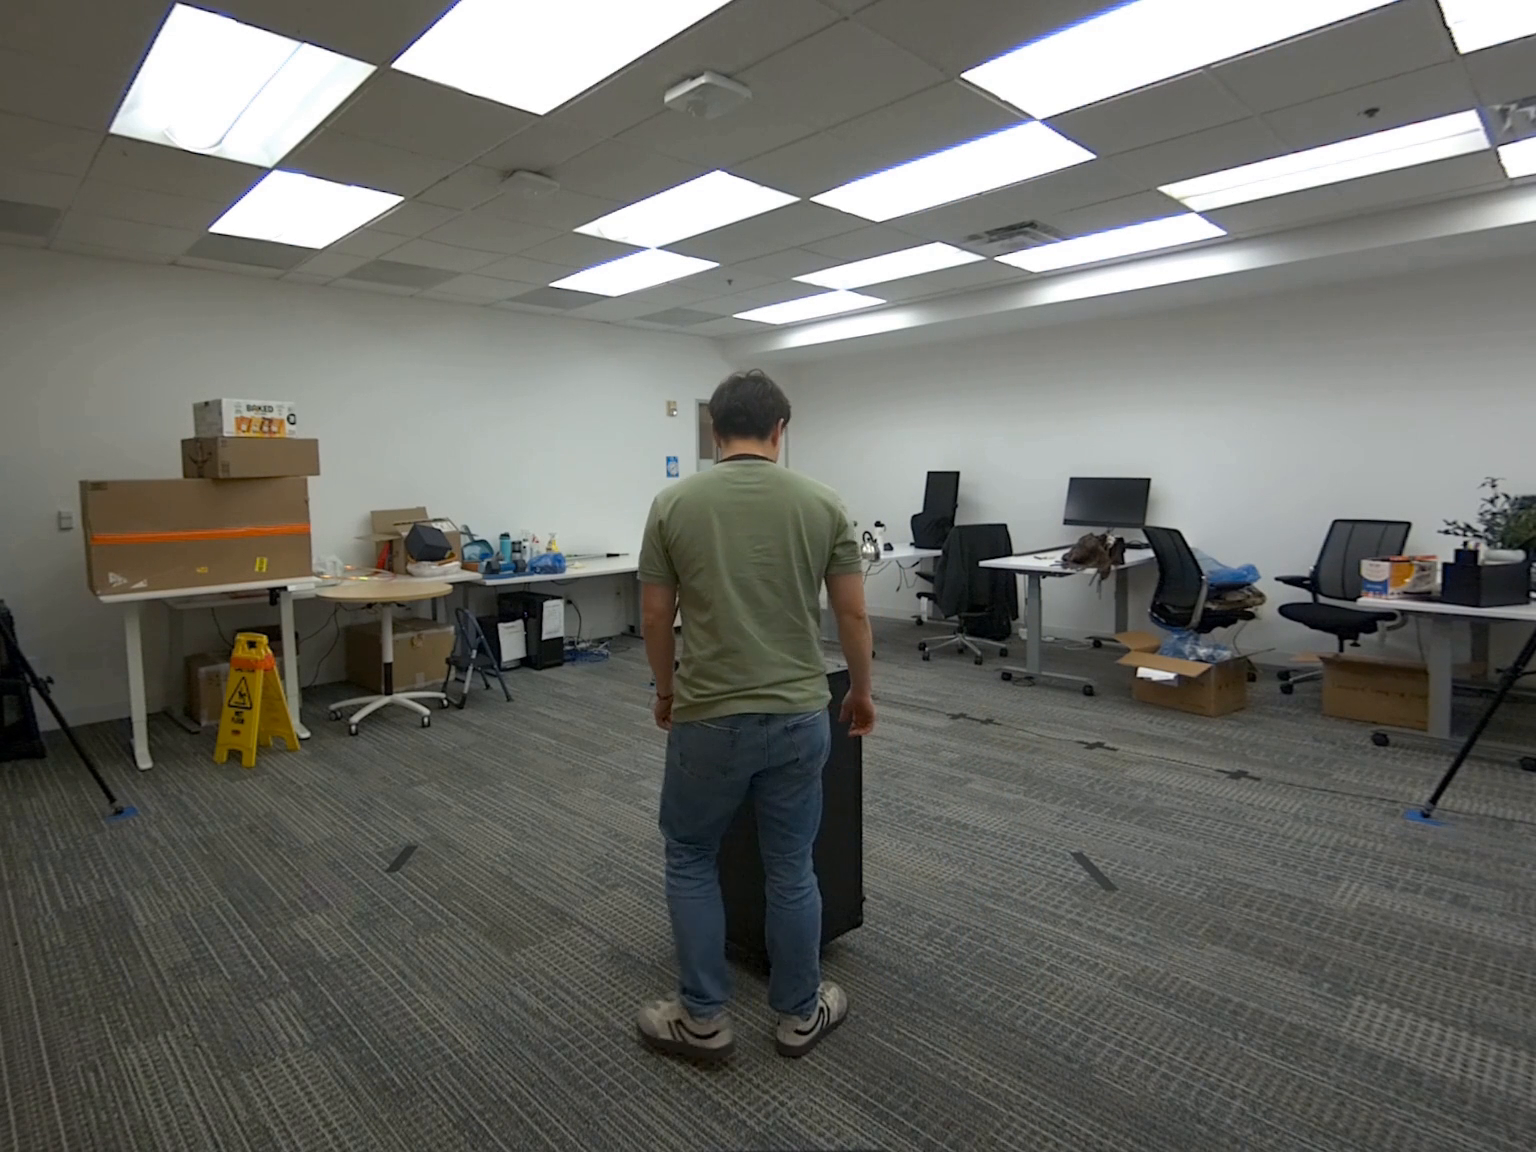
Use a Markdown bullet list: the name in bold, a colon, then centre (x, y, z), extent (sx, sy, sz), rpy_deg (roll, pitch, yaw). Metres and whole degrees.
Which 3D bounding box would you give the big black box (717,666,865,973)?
- **big black box**: centre (-0.005, 0.680, 2.586), extent (0.385, 0.859, 0.537), rpy_deg (-4, 5, -43)
